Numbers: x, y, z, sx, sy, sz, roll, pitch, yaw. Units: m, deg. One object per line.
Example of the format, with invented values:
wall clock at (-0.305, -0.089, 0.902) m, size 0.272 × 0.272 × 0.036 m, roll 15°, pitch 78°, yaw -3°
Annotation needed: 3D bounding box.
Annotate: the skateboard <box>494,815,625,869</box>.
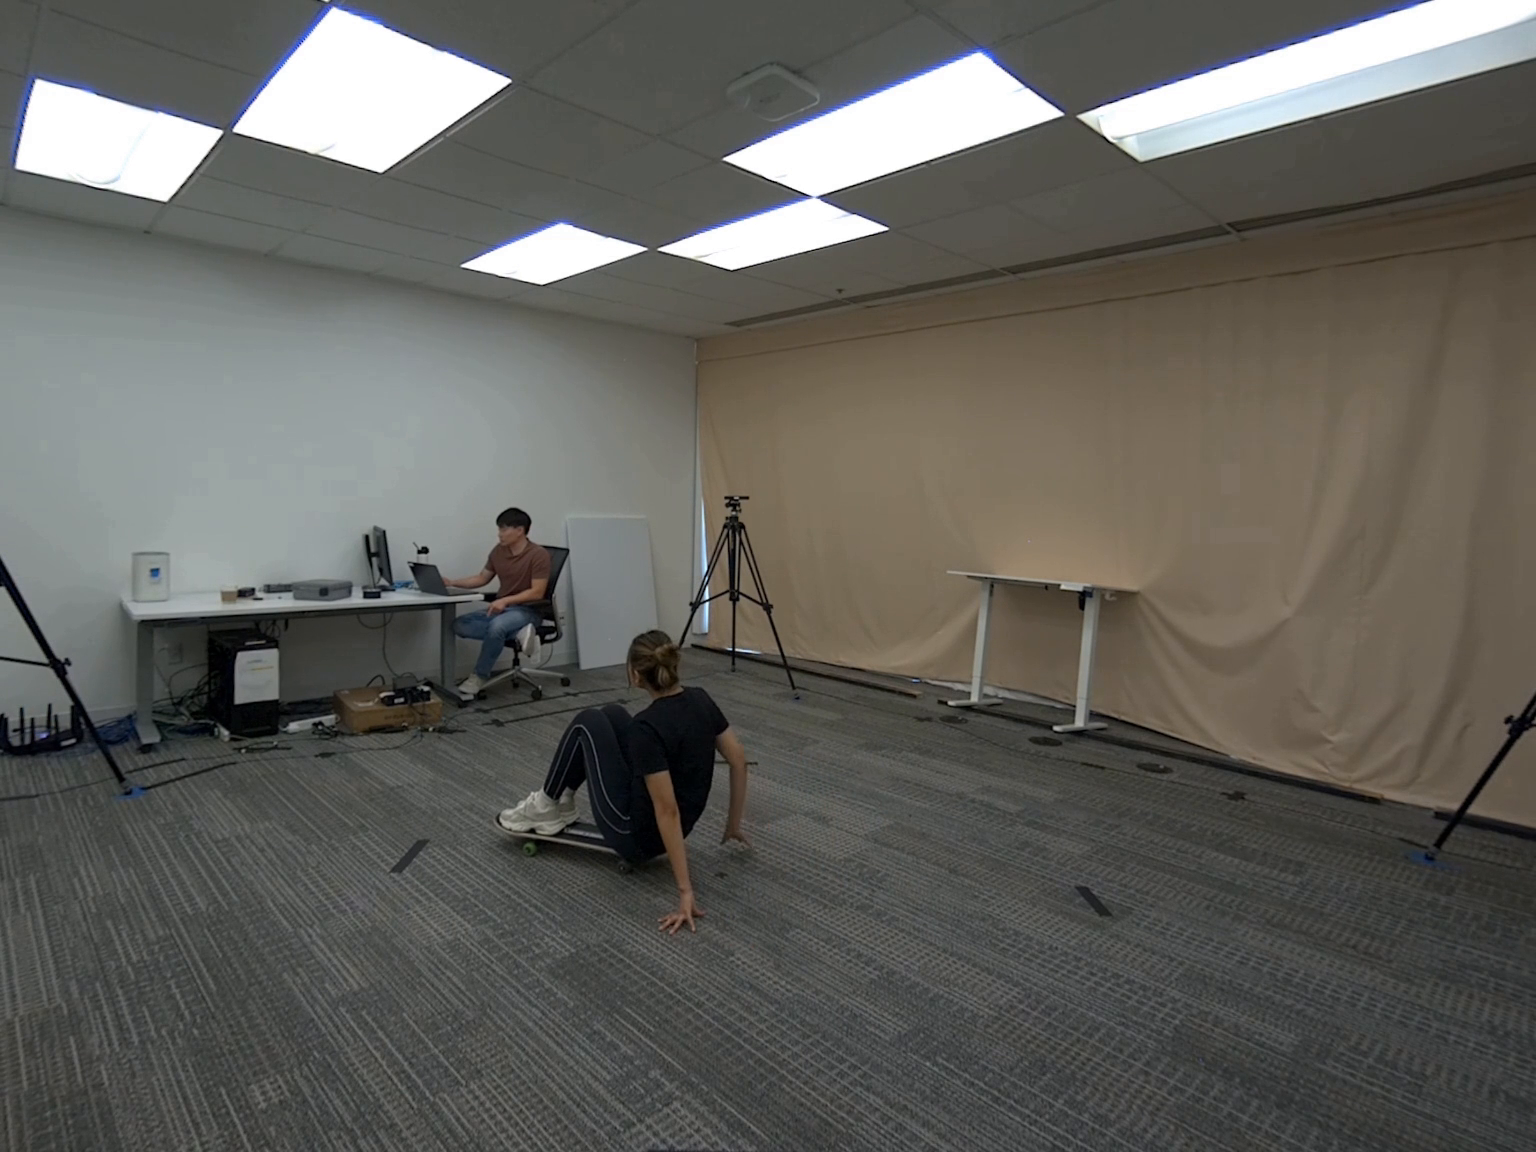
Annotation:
skateboard at (-0.695, 1.025, 3.242) m, size 0.797 × 0.110 × 0.191 m, roll 3°, pitch 2°, yaw 18°
